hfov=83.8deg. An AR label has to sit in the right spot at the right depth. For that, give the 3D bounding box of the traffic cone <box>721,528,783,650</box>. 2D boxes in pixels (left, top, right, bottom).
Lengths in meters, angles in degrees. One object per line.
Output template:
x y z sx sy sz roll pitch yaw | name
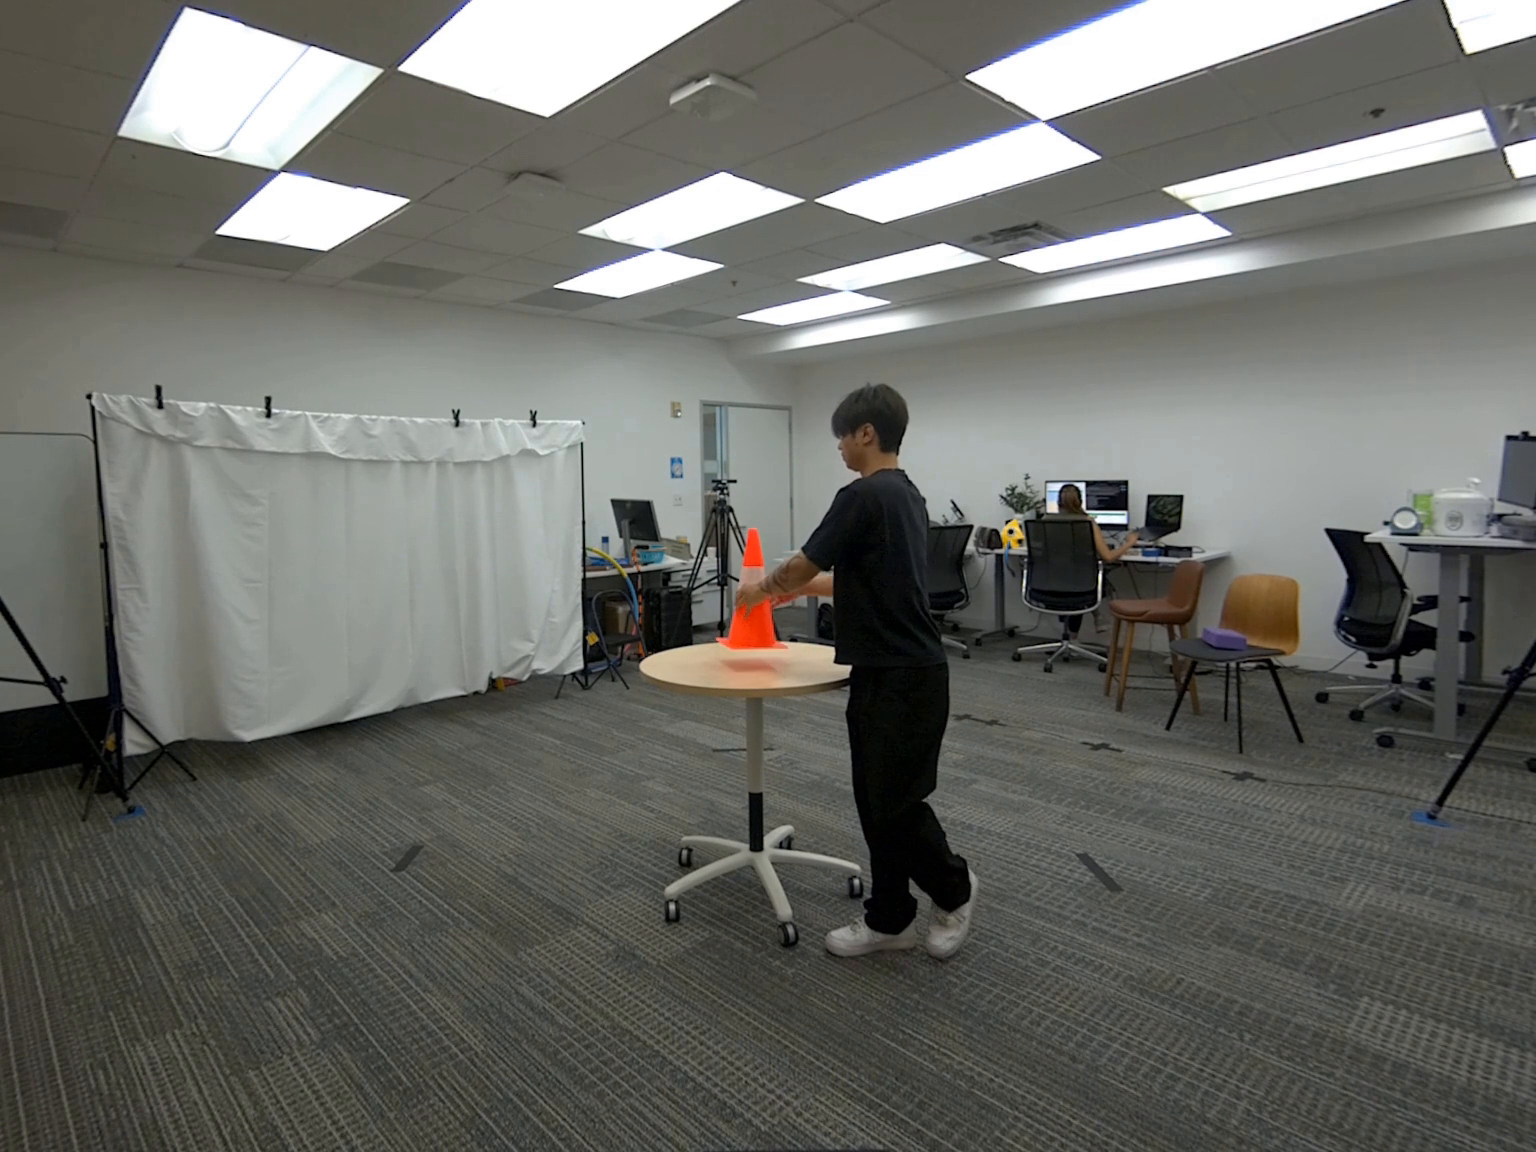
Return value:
-0.052 0.025 2.813 0.200 0.383 0.209 -2 3 -31 | traffic cone
